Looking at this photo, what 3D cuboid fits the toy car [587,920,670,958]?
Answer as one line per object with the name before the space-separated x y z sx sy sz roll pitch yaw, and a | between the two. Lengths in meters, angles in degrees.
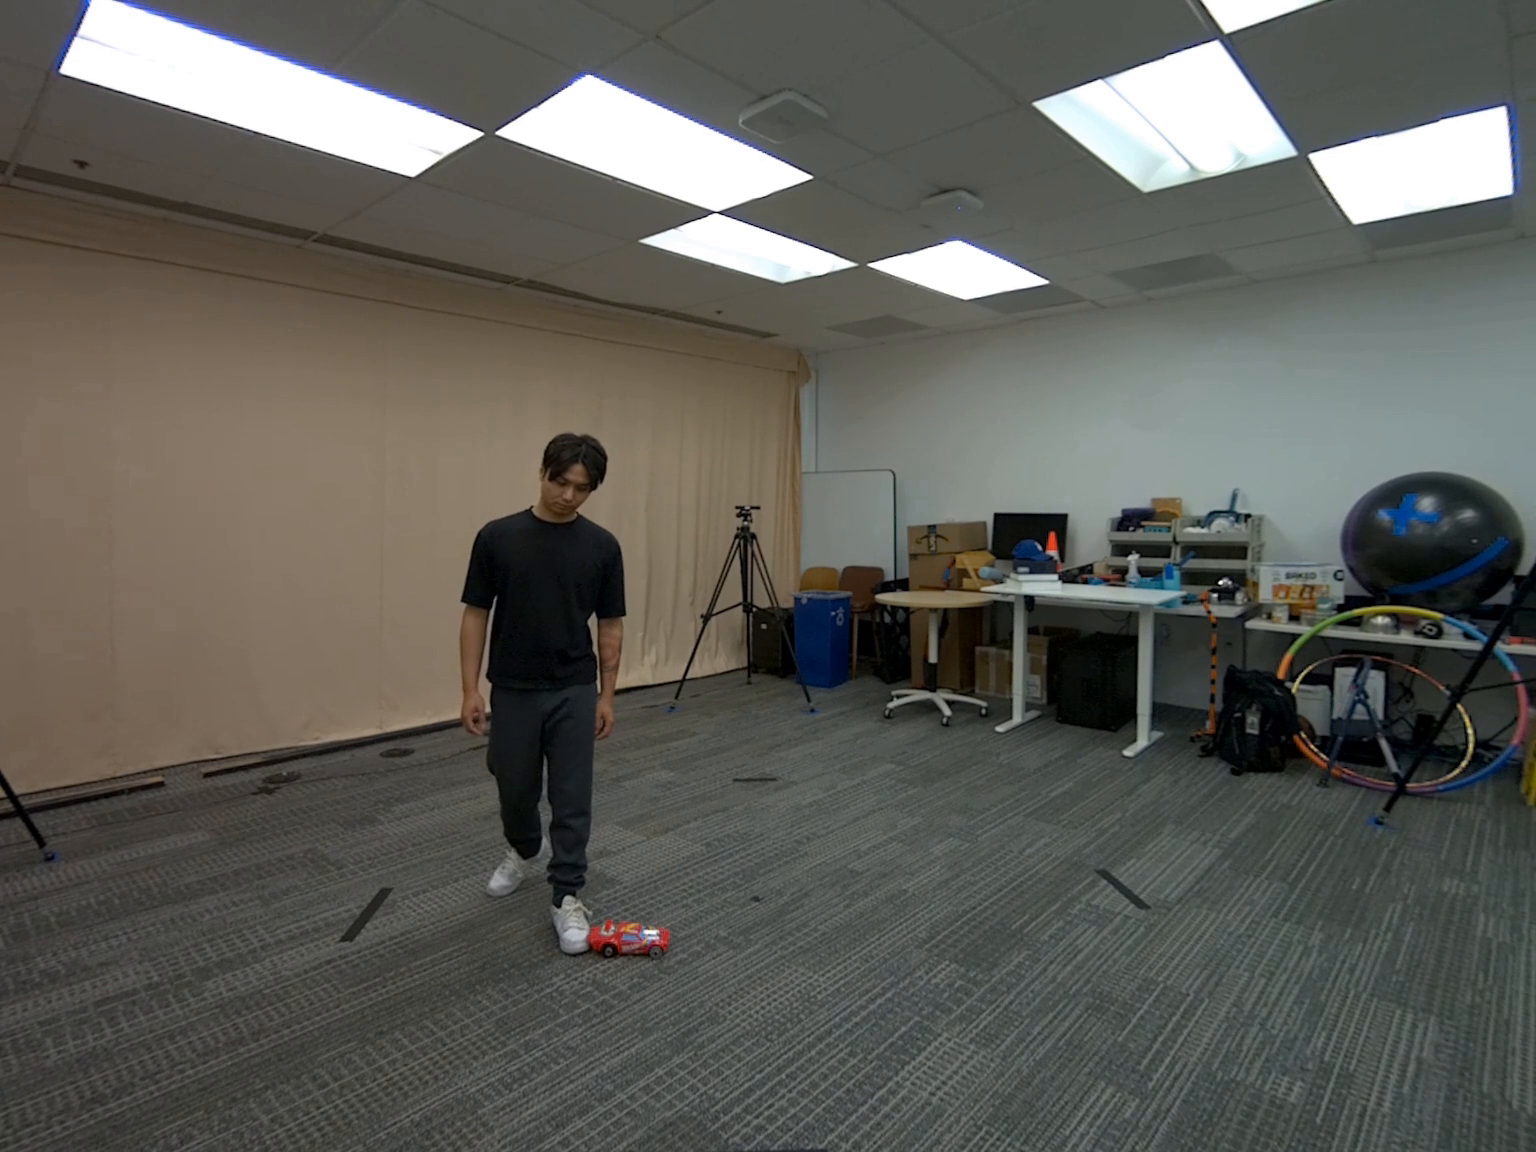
toy car | -0.442 1.144 2.642 0.255 0.083 0.130 11 4 1
